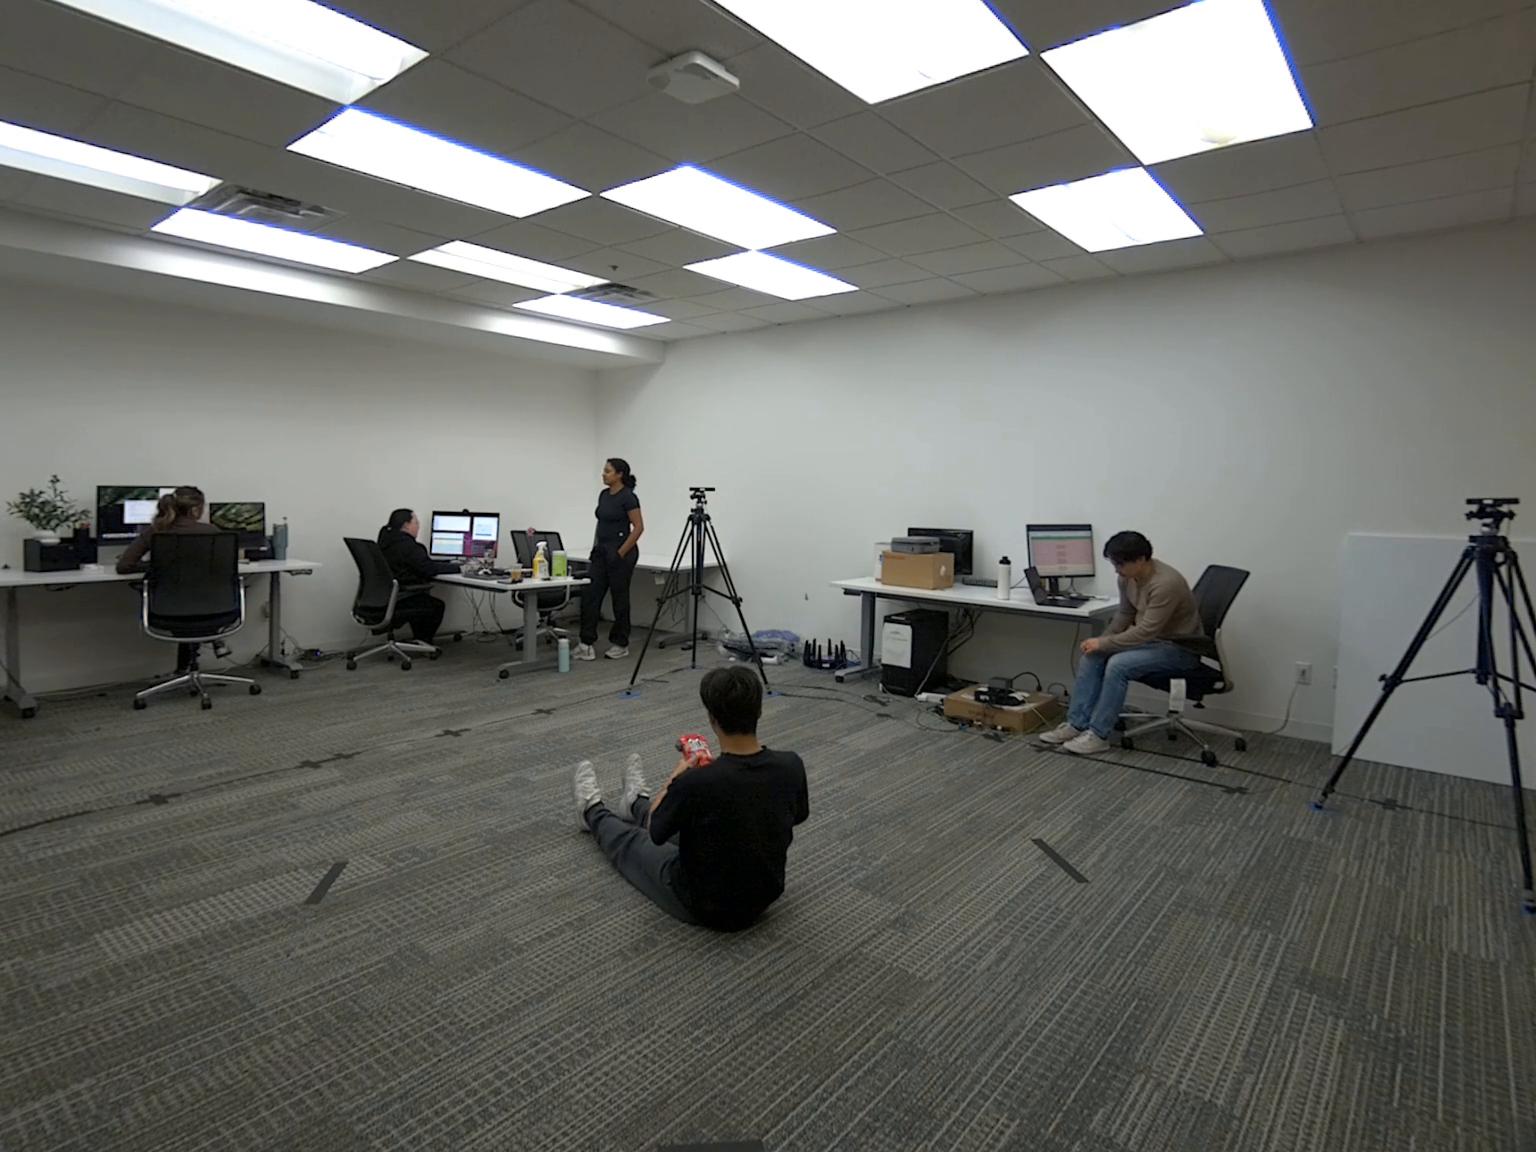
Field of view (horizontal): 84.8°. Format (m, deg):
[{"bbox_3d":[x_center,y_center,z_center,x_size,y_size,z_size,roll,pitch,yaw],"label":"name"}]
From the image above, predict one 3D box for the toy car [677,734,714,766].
[{"bbox_3d":[-0.240,0.685,3.078,0.126,0.082,0.265,6,24,-31],"label":"toy car"}]
